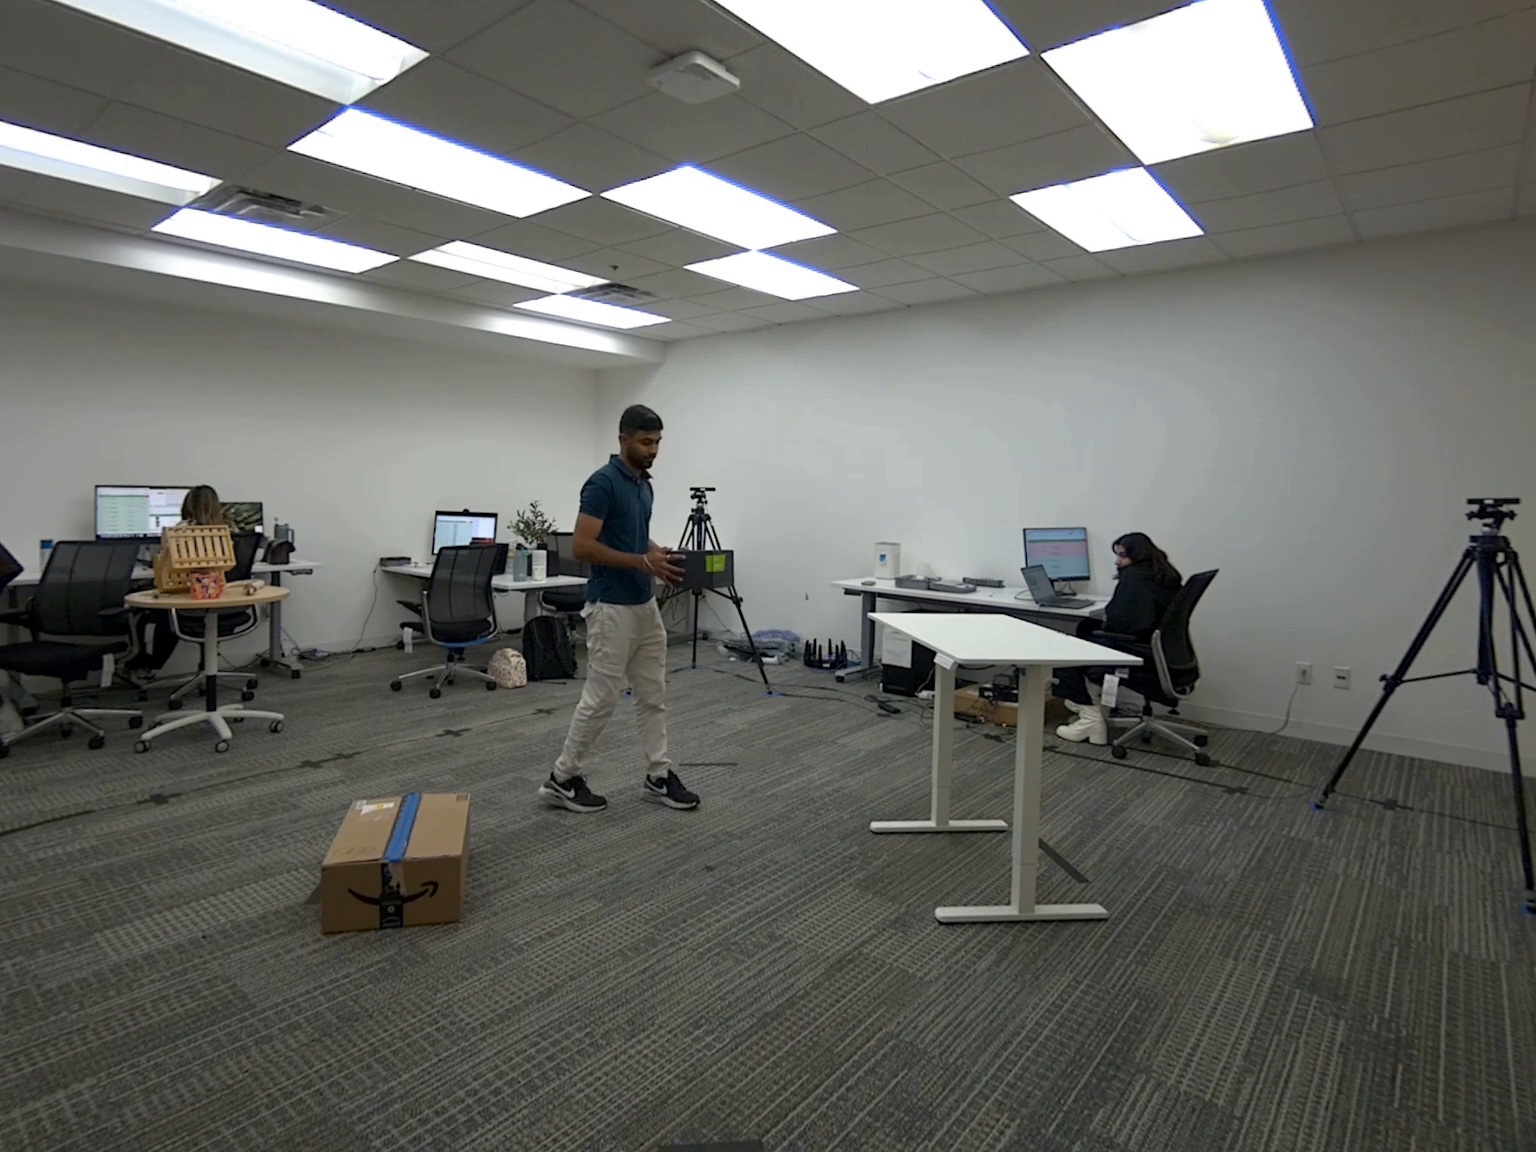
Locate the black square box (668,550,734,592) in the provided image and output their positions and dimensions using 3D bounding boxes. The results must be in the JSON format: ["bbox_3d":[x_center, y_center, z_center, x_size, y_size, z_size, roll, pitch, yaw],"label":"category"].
[{"bbox_3d":[-0.295,-0.038,3.556,0.222,0.156,0.223,0,1,21],"label":"black square box"}]
